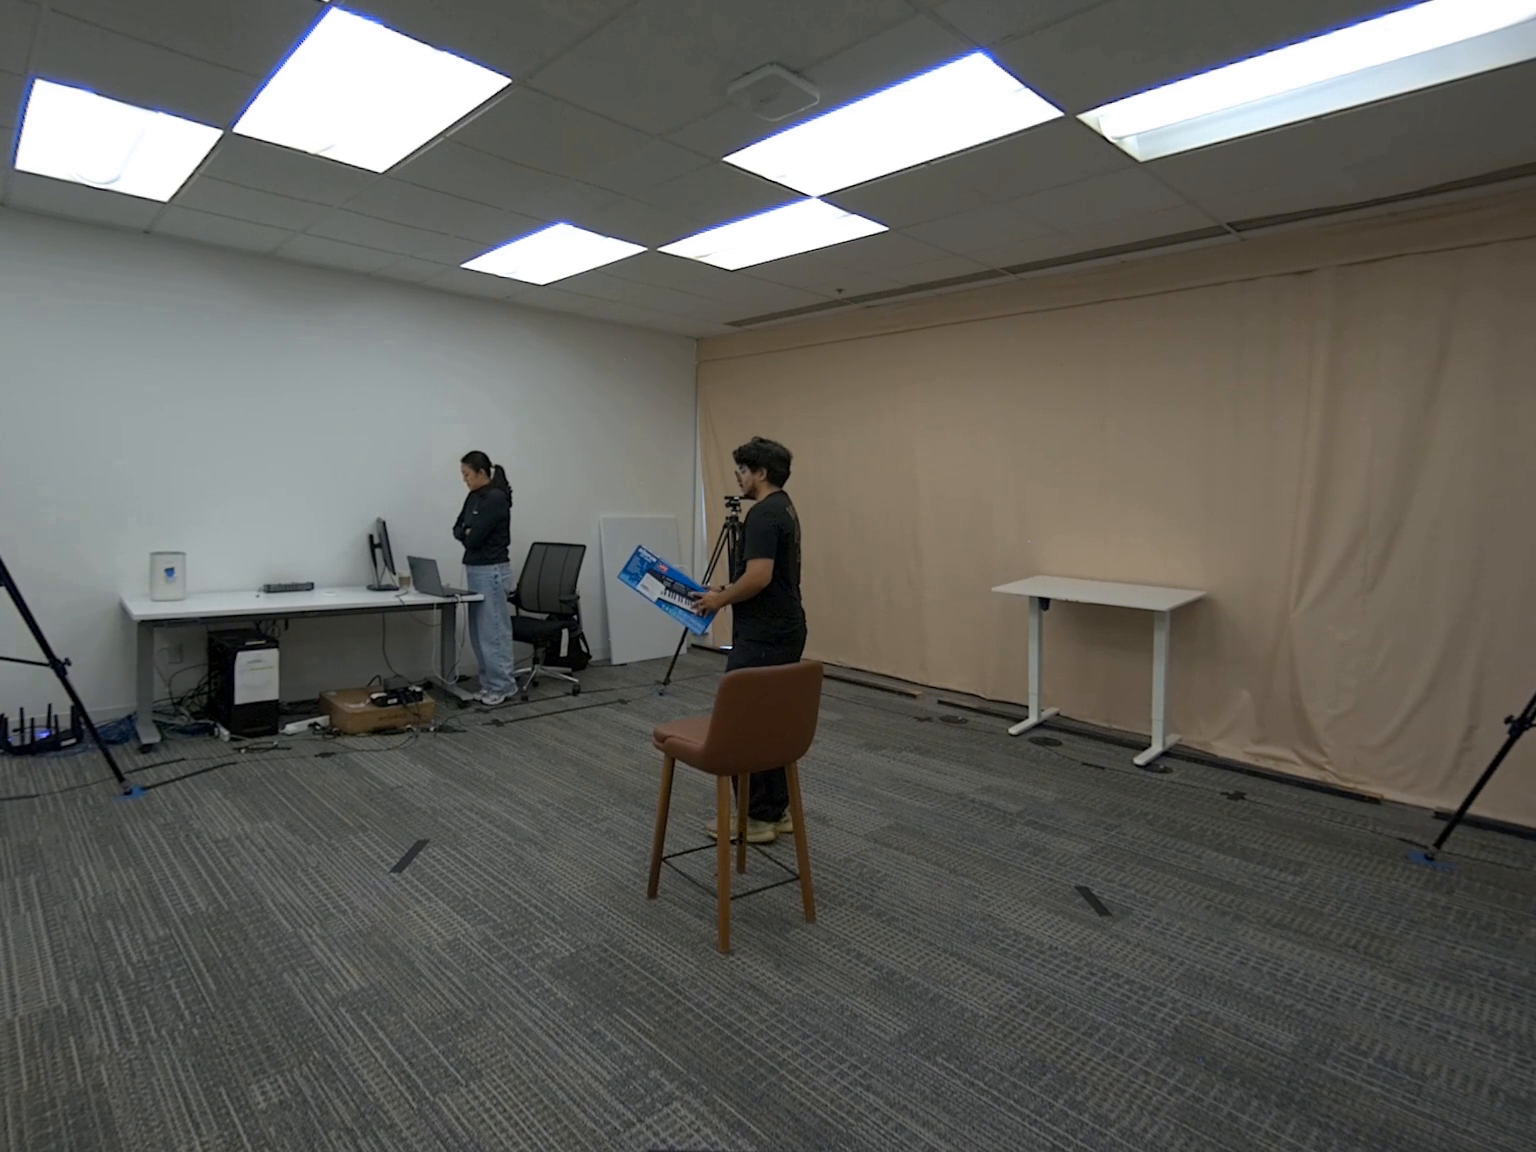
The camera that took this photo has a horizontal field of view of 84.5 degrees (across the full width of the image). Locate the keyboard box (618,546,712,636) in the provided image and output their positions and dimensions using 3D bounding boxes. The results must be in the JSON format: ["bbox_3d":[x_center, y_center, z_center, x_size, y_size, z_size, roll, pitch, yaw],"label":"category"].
[{"bbox_3d":[-0.423,0.059,3.590,0.438,0.176,0.059,34,-1,3],"label":"keyboard box"}]
